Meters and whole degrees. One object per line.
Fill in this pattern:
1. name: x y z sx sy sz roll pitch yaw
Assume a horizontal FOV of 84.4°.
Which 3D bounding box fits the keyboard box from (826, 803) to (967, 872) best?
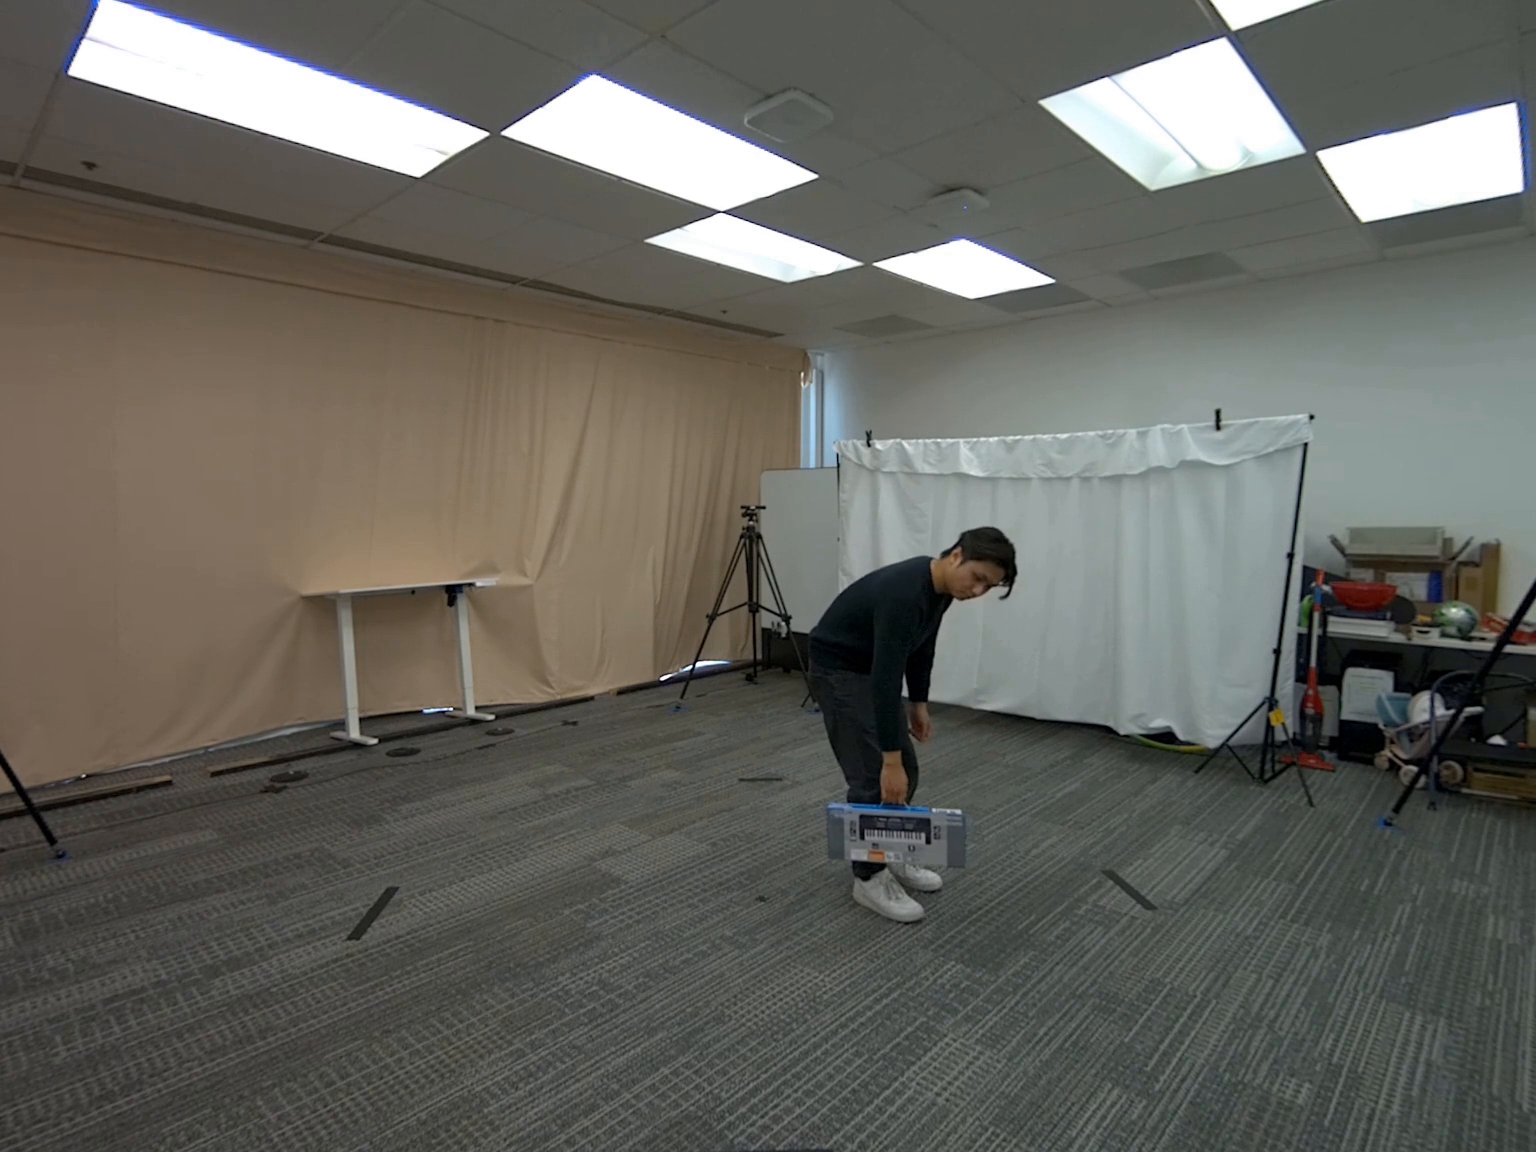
1. keyboard box: 0.416 0.839 2.738 0.443 0.176 0.058 -1 1 14
